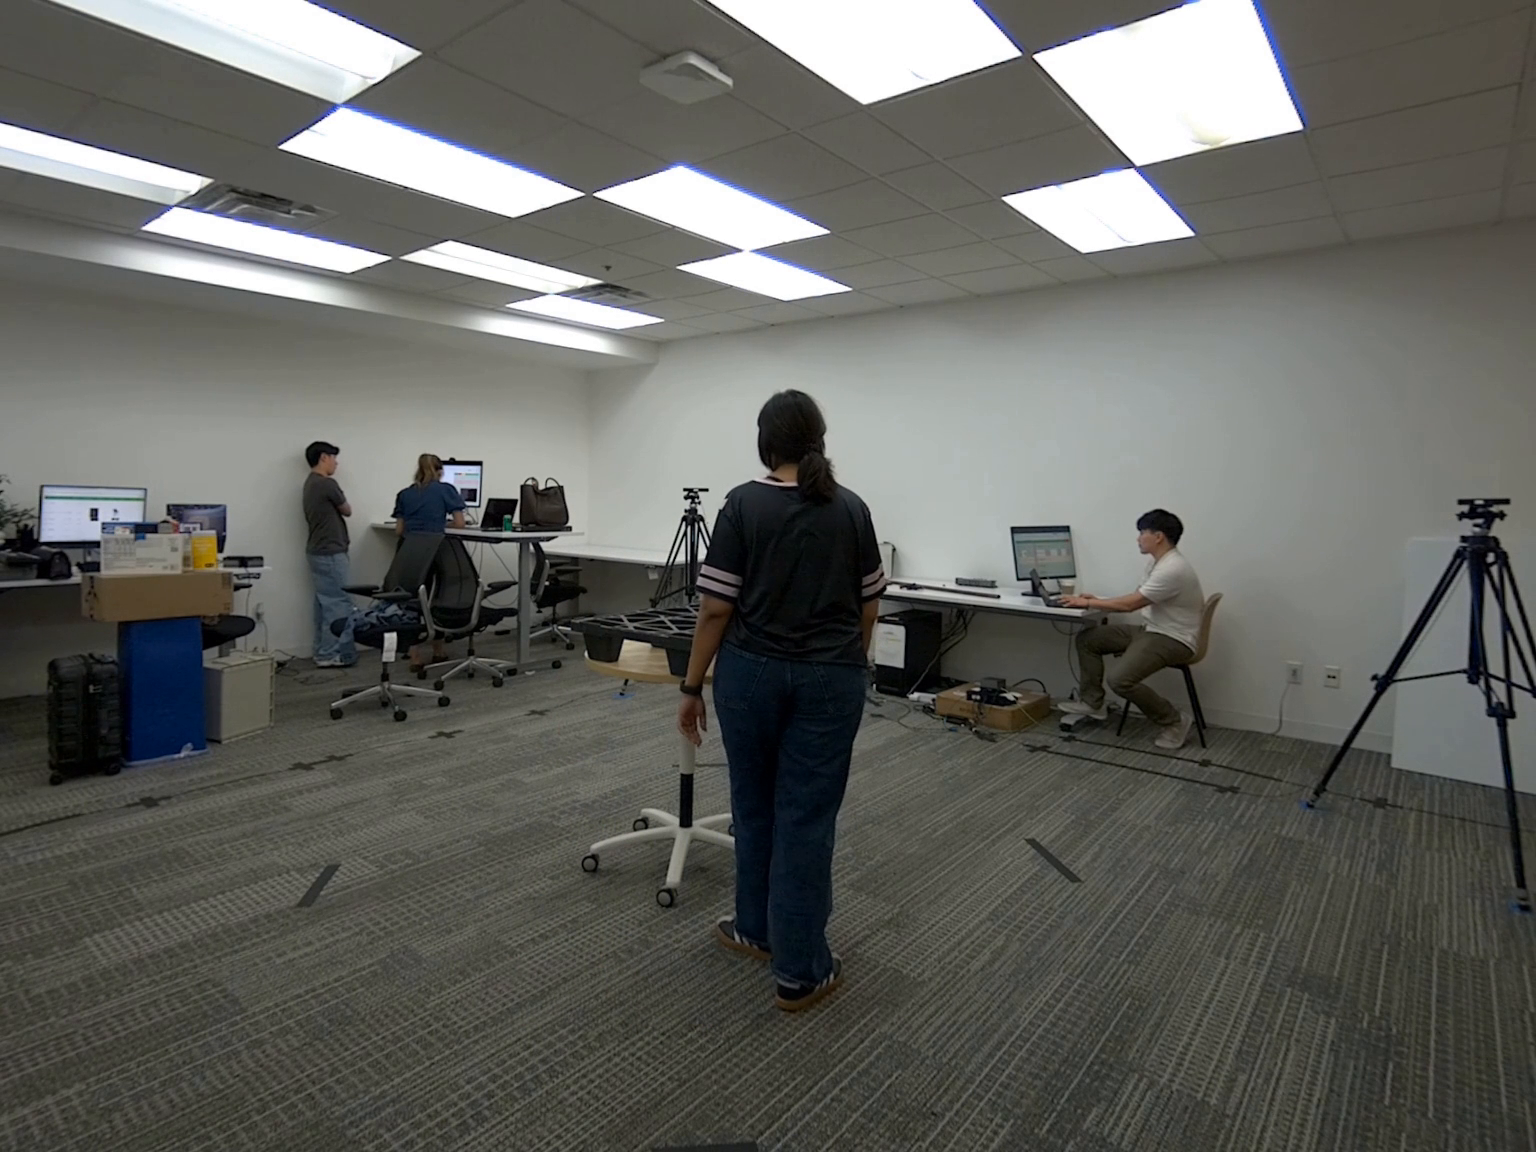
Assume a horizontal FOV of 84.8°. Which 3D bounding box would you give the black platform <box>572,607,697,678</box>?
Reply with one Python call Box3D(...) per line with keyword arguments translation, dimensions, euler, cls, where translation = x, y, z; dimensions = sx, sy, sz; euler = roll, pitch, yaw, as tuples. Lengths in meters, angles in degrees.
Box3D(translation=(-0.238, 0.219, 3.128), dimensions=(0.625, 0.142, 0.783), euler=(6, 8, 34), cls="black platform")
